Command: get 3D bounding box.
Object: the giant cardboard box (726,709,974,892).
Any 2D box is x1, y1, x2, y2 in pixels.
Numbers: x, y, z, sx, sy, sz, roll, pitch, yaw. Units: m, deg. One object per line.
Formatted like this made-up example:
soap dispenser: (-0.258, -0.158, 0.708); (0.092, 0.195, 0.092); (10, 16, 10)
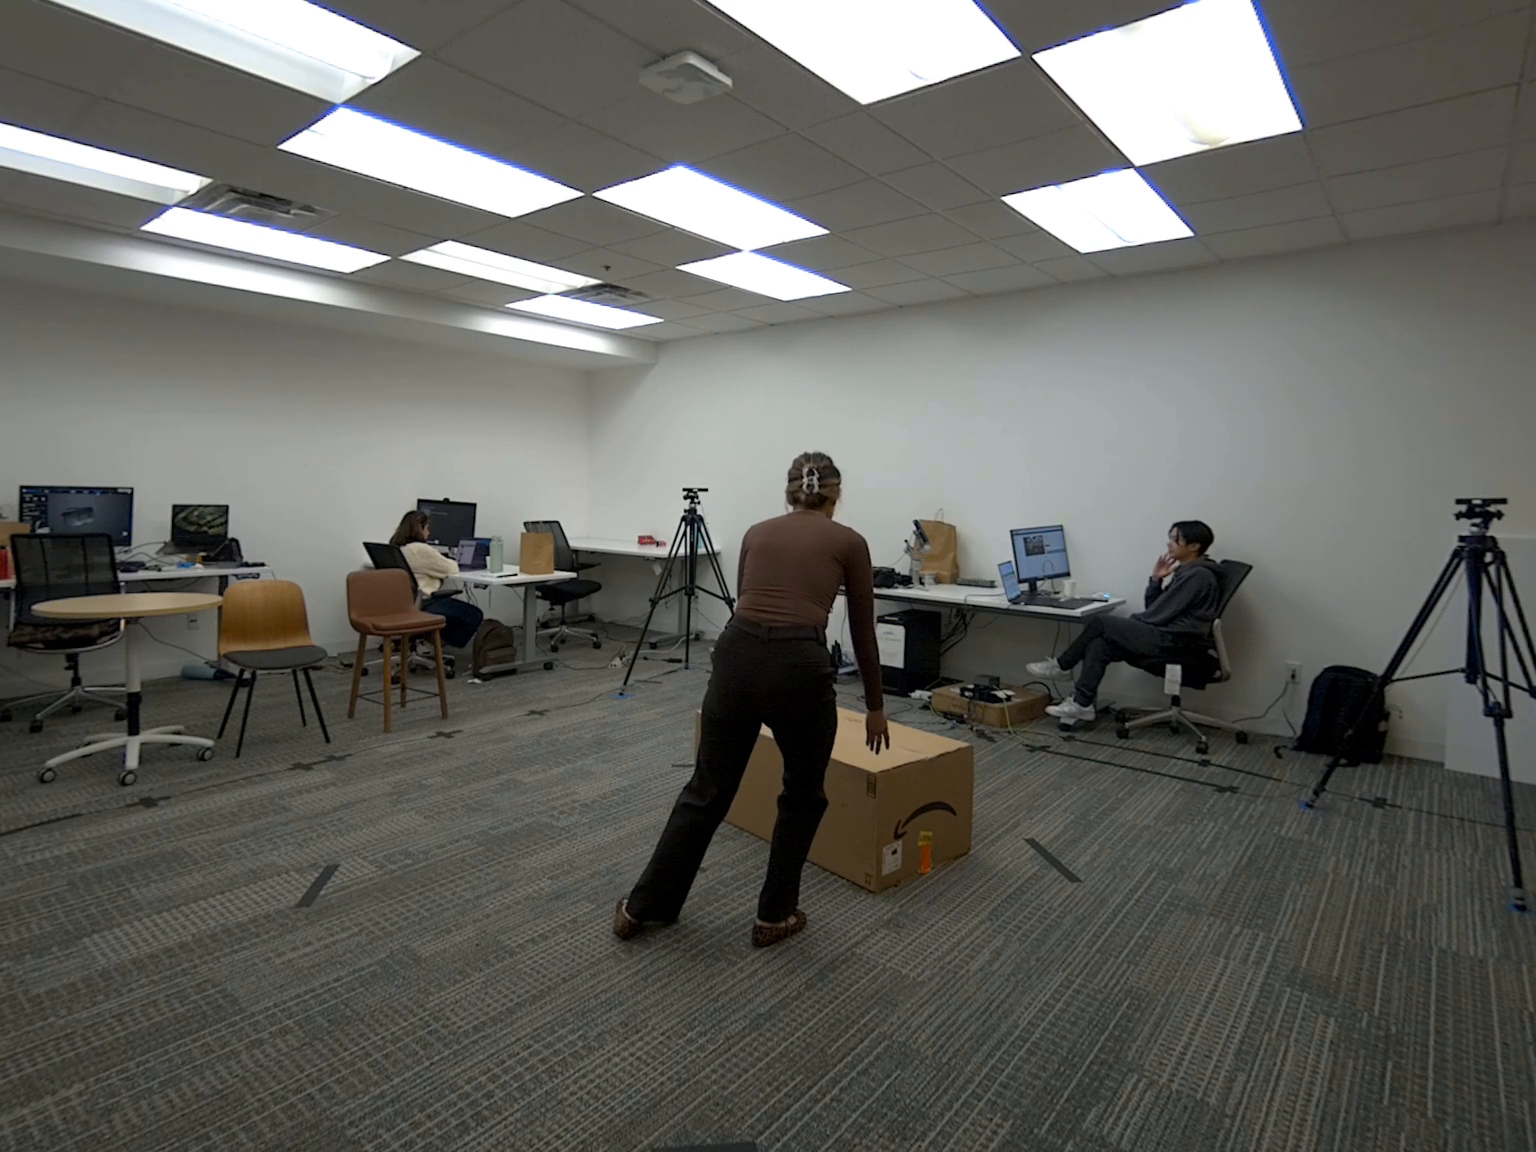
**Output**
giant cardboard box: (0.234, 0.831, 3.505); (0.566, 0.445, 1.063); (-2, 6, -41)
